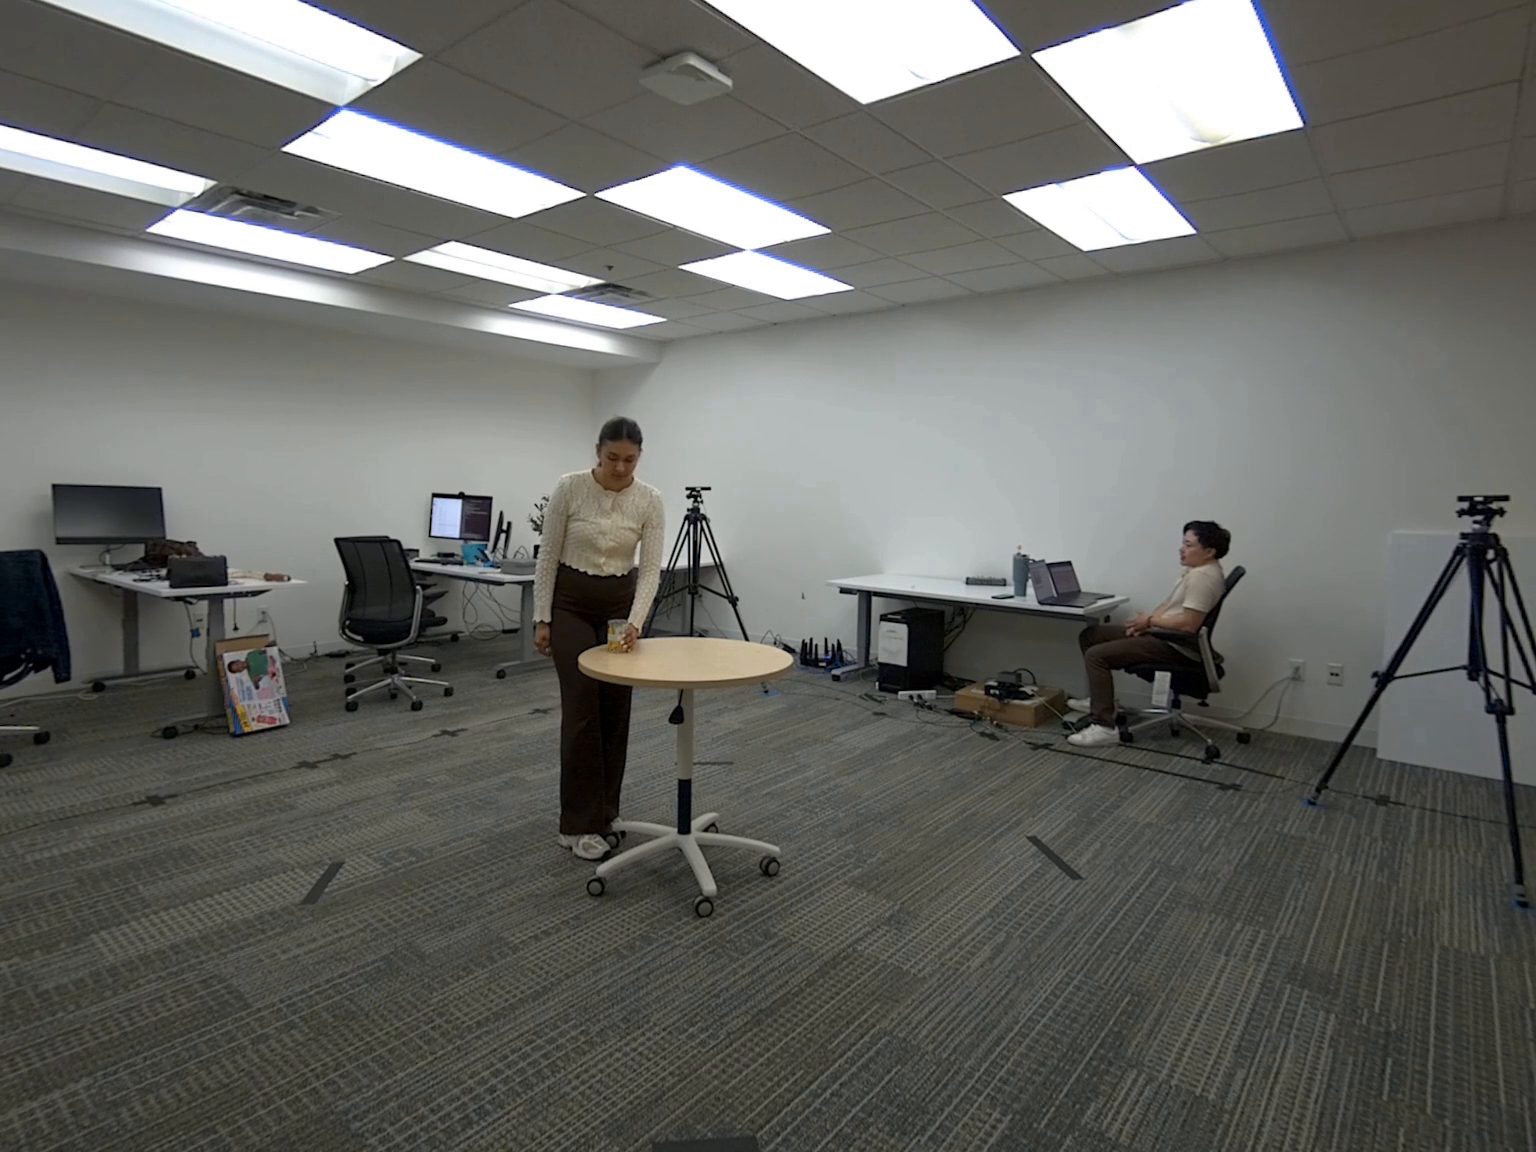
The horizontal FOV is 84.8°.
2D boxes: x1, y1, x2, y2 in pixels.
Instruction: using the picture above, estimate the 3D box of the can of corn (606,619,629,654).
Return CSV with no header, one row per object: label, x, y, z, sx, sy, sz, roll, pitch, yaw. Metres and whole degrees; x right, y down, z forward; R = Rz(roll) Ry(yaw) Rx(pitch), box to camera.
can of corn,-0.555,0.217,3.129,0.074,0.111,0.074,2,2,-2
